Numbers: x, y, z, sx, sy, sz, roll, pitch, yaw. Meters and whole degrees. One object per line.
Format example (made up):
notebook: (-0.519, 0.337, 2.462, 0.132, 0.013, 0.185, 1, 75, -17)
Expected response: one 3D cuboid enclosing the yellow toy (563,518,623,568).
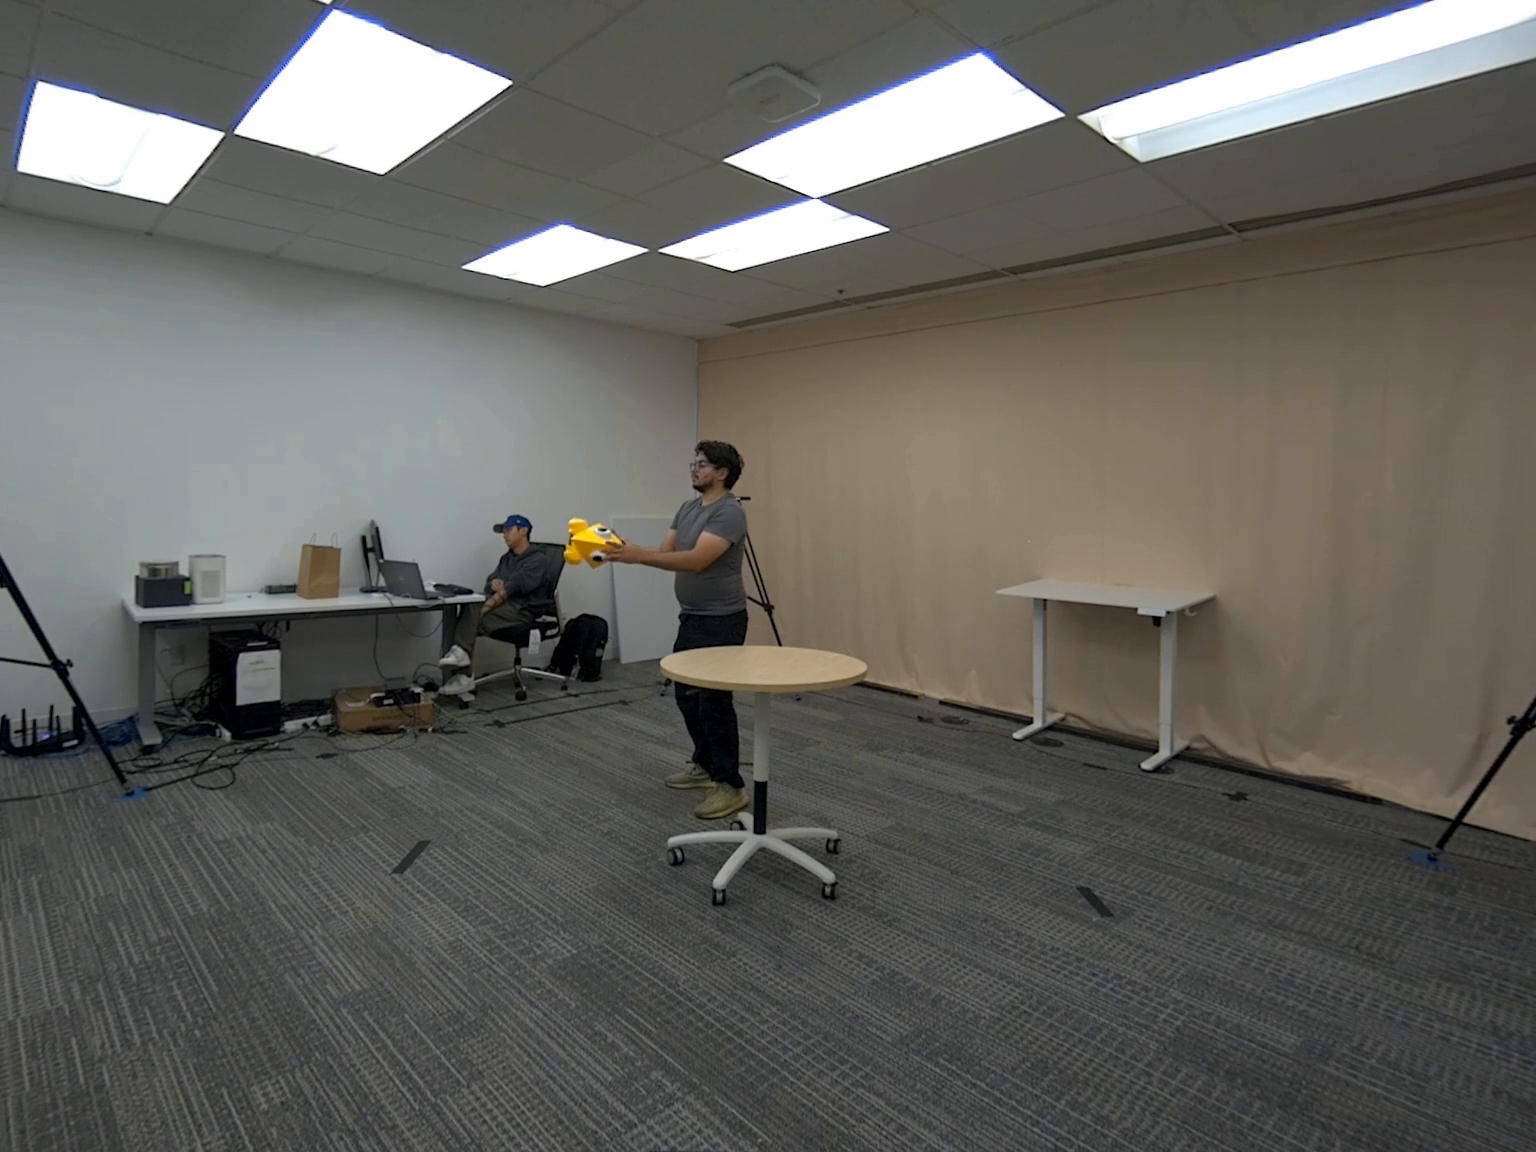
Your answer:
yellow toy: (-0.759, -0.128, 3.683, 0.232, 0.206, 0.191, 7, -7, 8)
